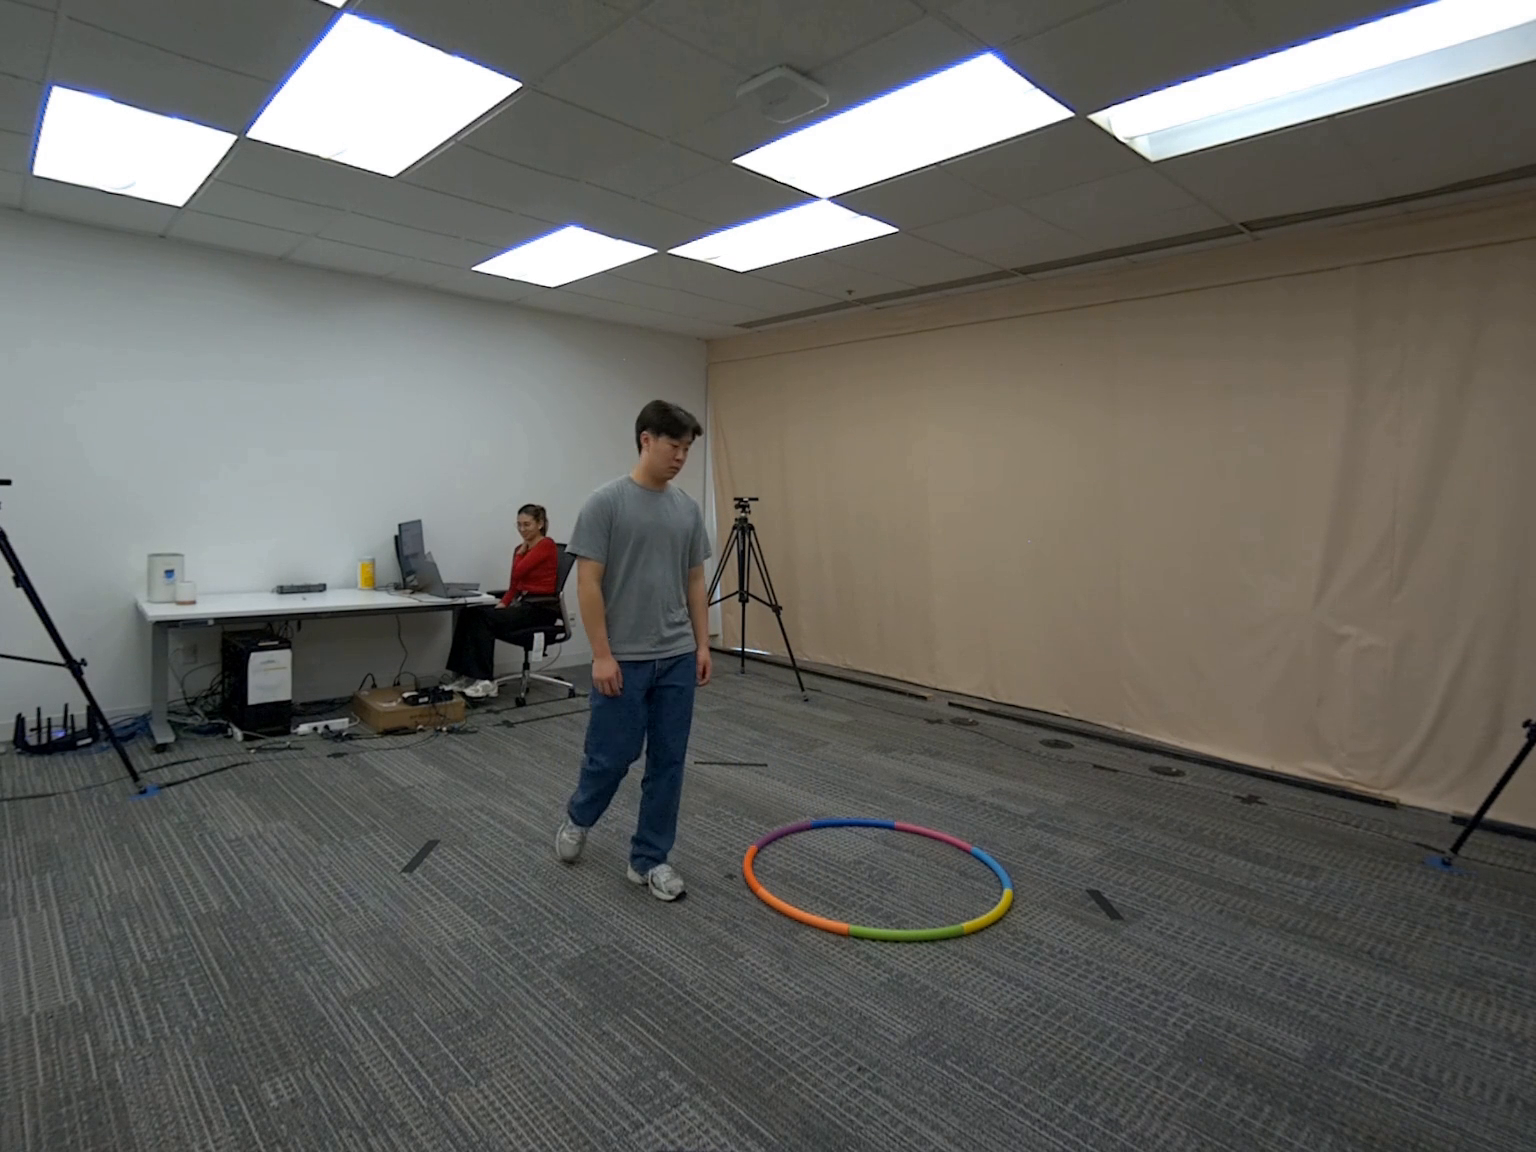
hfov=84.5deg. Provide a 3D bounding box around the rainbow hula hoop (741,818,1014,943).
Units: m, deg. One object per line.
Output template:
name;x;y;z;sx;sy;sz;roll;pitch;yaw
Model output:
rainbow hula hoop;0.378;1.083;3.150;0.978;0.035;0.982;1;5;-1
